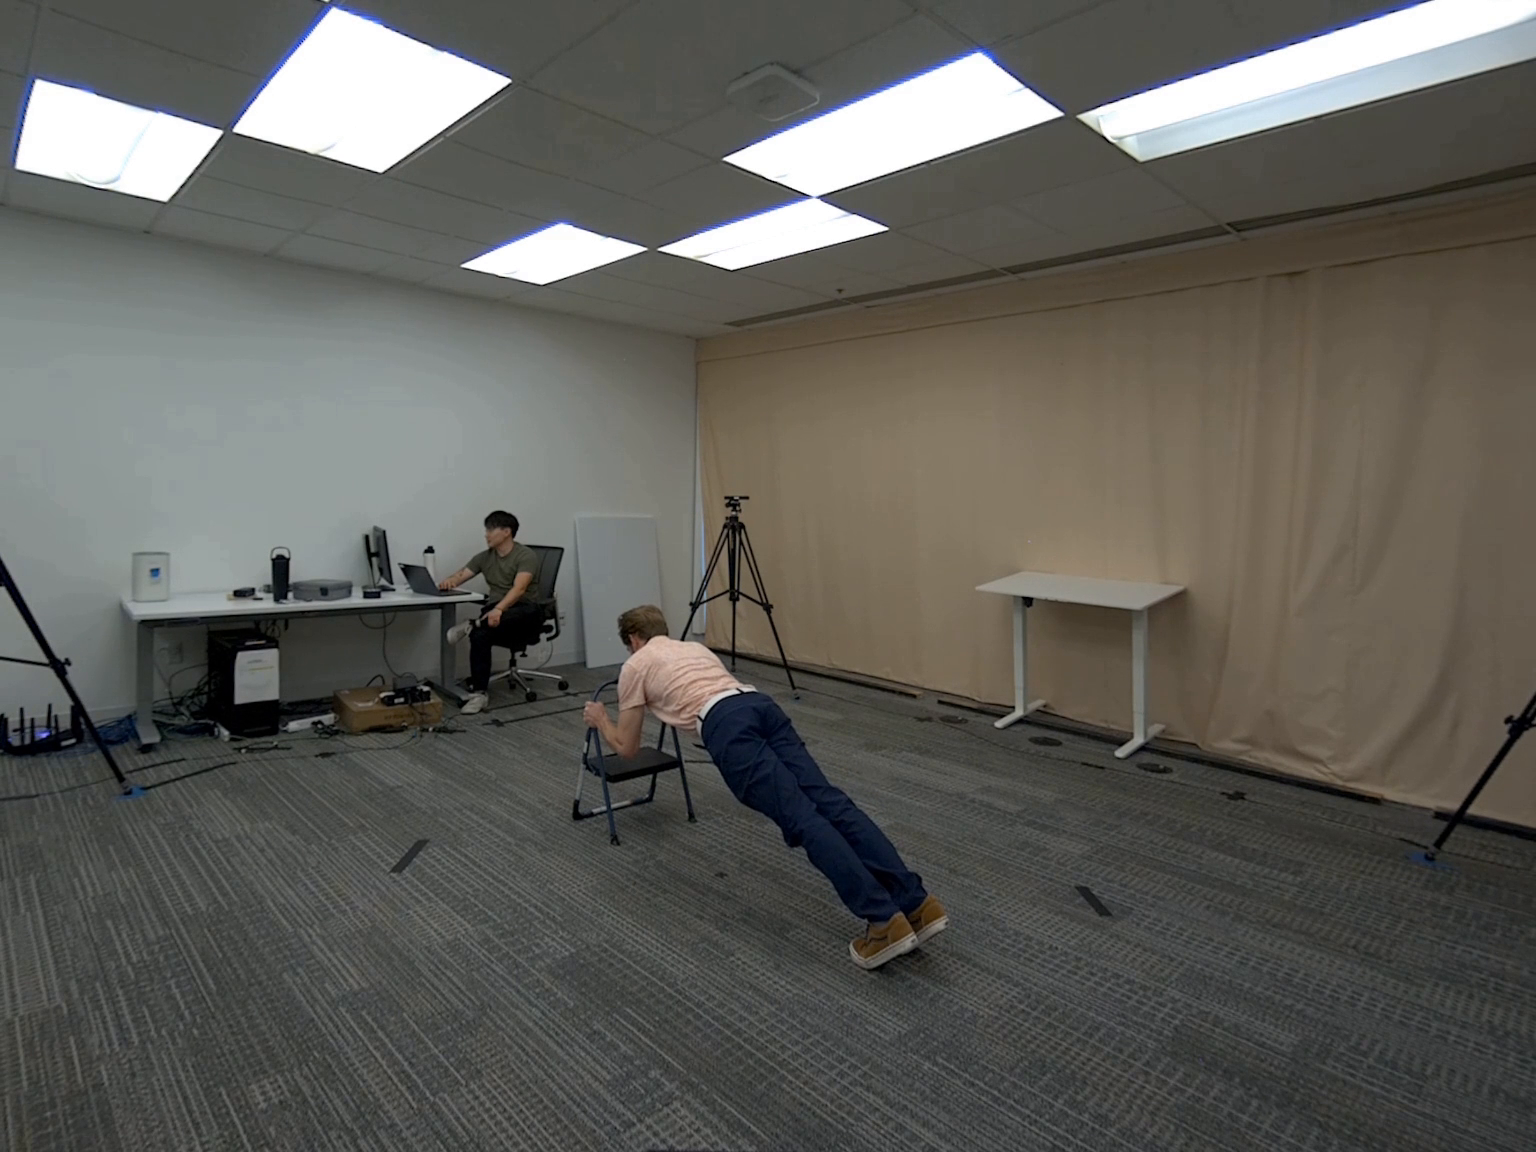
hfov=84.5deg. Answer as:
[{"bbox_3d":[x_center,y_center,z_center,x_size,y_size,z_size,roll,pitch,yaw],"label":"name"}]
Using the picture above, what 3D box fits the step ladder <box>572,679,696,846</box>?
[{"bbox_3d":[-0.576,0.751,3.597,0.421,0.605,0.358,-2,4,-43],"label":"step ladder"}]
